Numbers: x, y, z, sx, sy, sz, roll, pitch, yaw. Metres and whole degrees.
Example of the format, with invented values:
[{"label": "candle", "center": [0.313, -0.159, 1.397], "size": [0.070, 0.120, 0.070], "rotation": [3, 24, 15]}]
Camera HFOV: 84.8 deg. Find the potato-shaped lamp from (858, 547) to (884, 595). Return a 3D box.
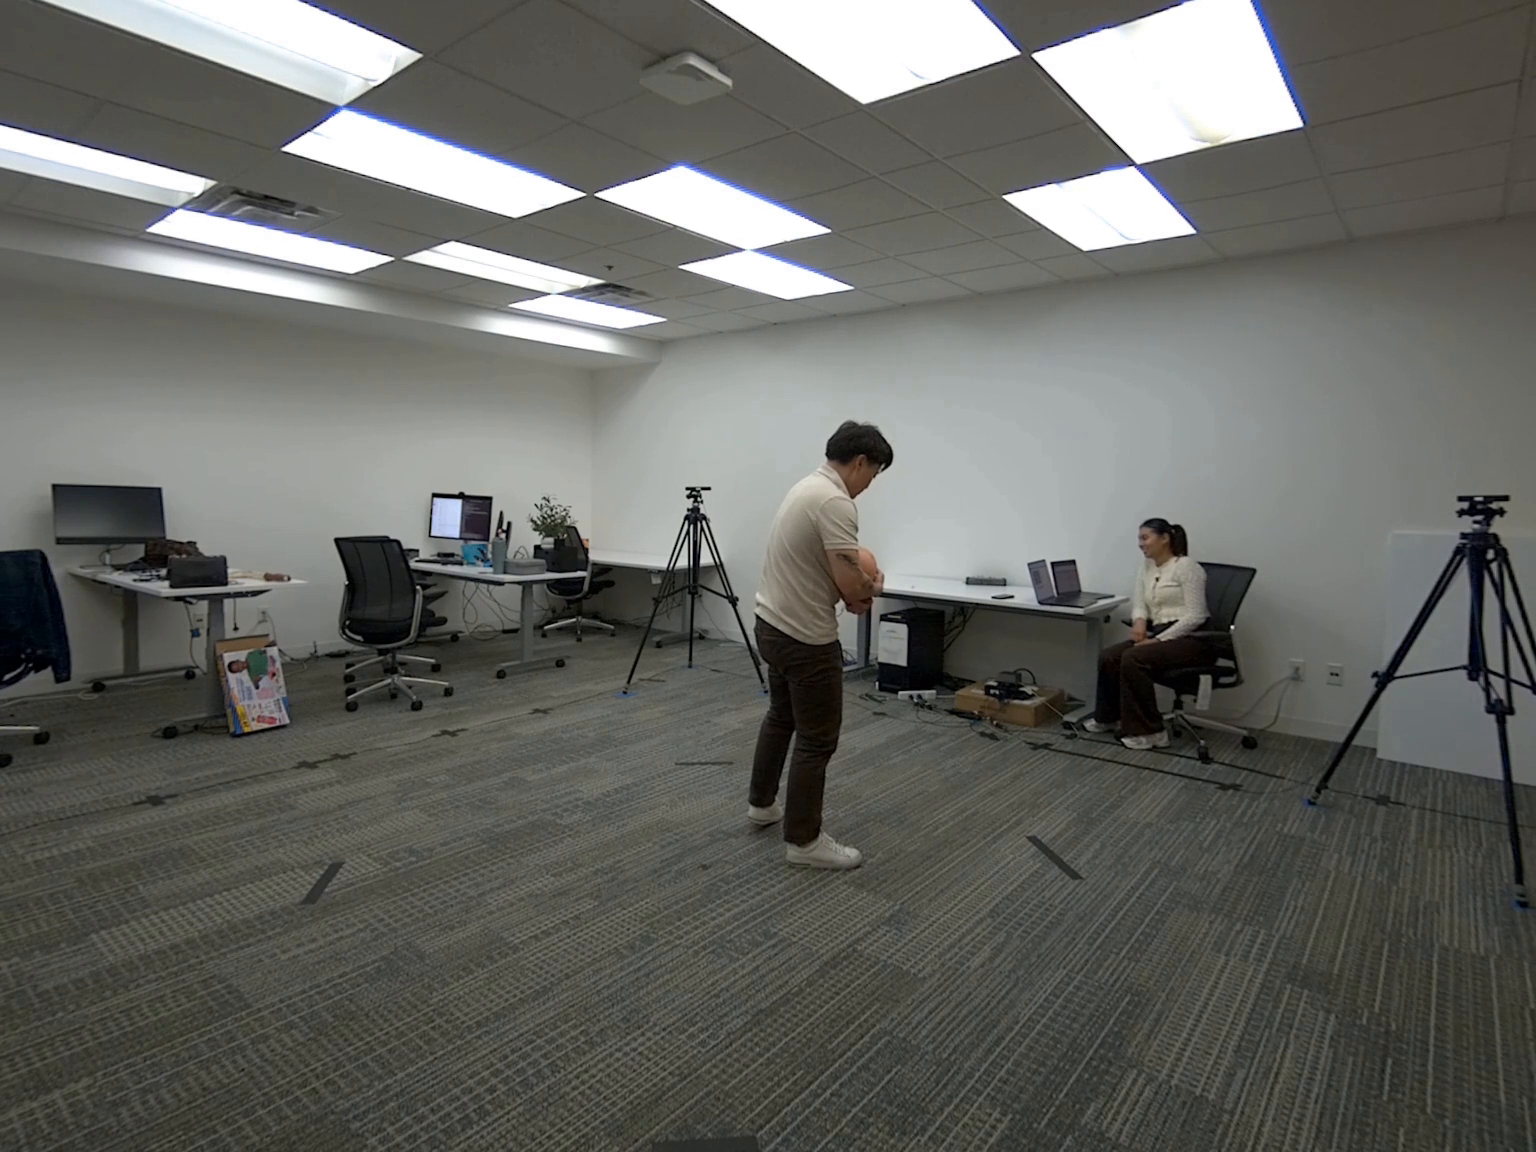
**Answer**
[{"label": "potato-shaped lamp", "center": [0.303, -0.029, 3.093], "size": [0.166, 0.172, 0.195], "rotation": [3, -5, 7]}]
